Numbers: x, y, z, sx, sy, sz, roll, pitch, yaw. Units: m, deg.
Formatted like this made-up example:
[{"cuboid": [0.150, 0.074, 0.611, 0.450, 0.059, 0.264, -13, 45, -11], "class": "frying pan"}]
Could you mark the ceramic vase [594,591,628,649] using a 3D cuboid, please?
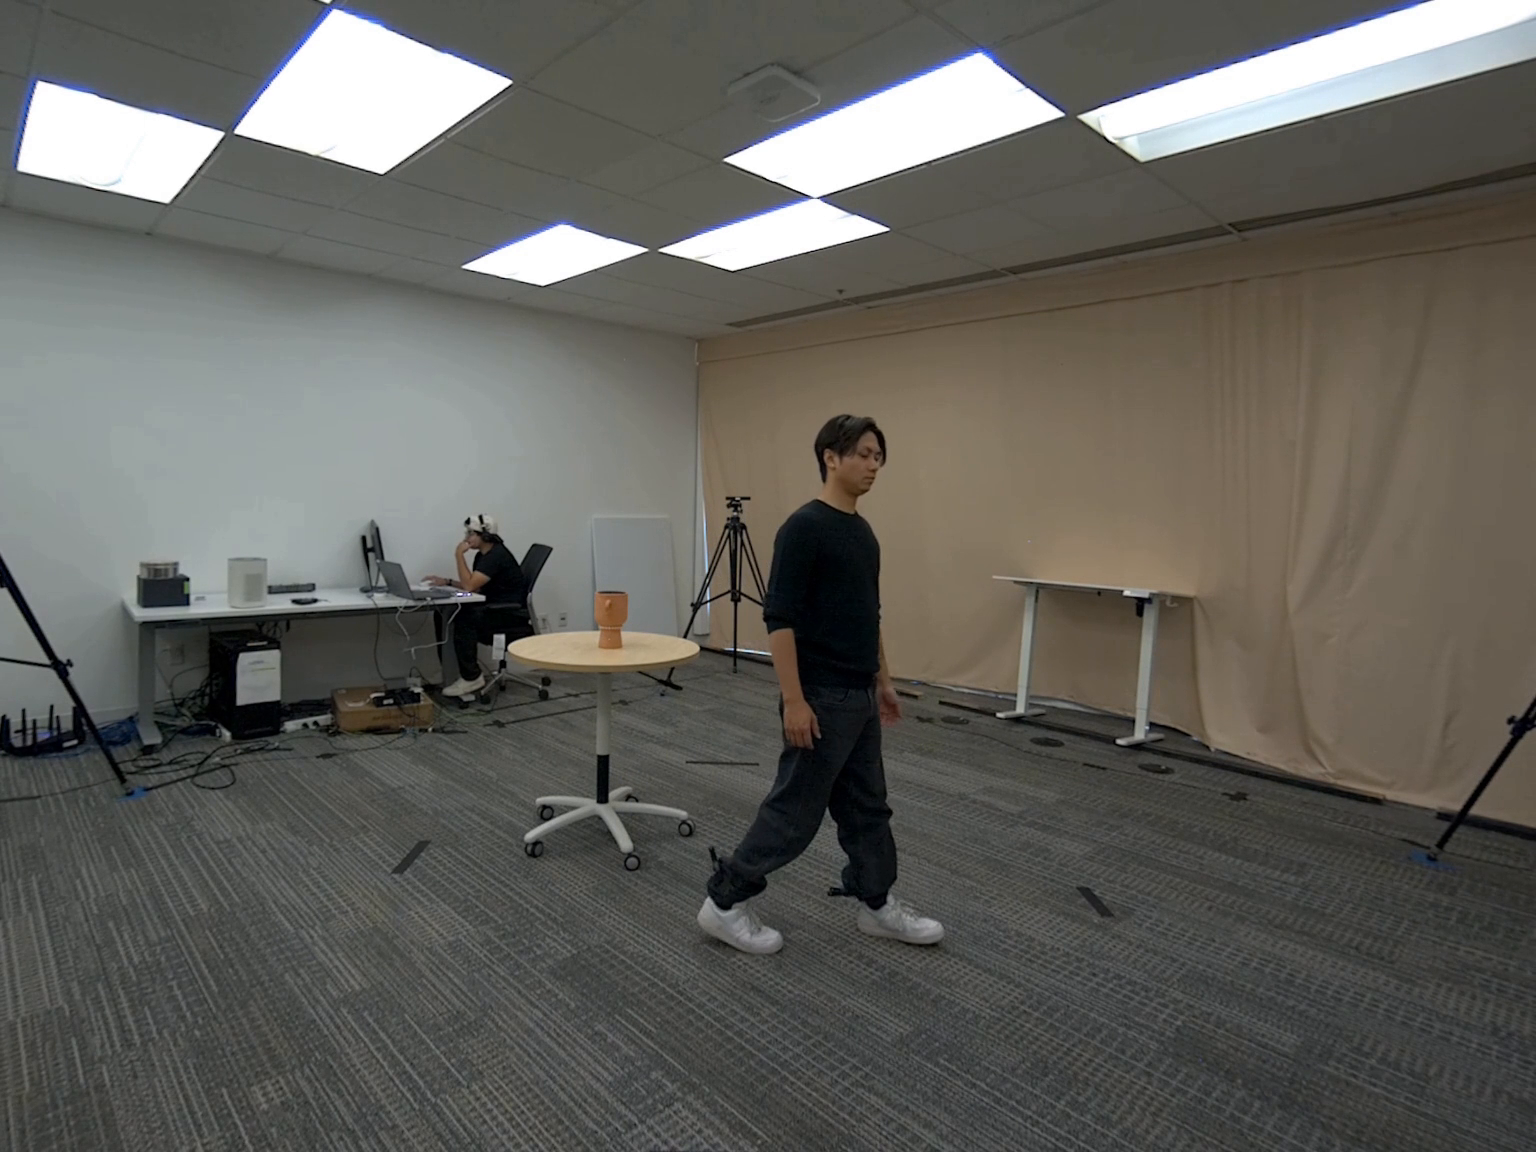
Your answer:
[{"cuboid": [-0.643, 0.178, 3.395, 0.138, 0.219, 0.155, 6, 5, 40], "class": "ceramic vase"}]
